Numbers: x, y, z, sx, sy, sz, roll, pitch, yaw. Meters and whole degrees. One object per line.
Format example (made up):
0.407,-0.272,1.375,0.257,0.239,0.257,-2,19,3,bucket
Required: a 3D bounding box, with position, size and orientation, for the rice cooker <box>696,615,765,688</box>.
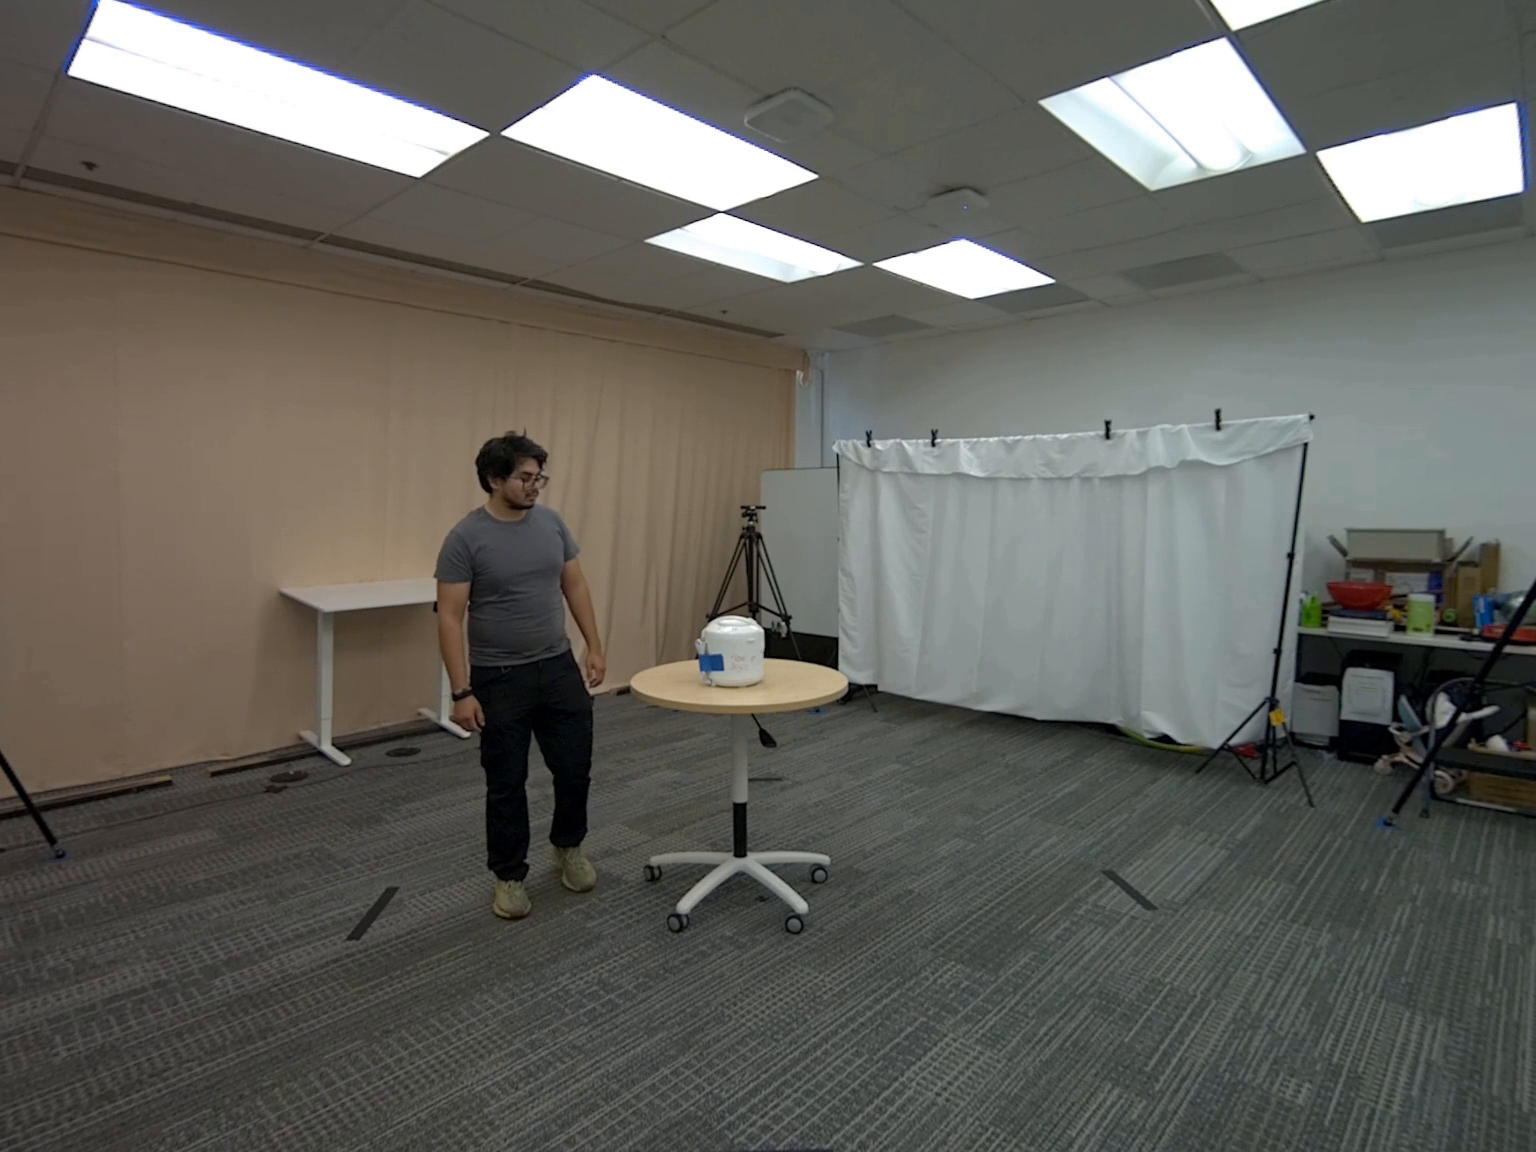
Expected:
-0.119,0.254,2.910,0.224,0.232,0.214,1,4,16,rice cooker
